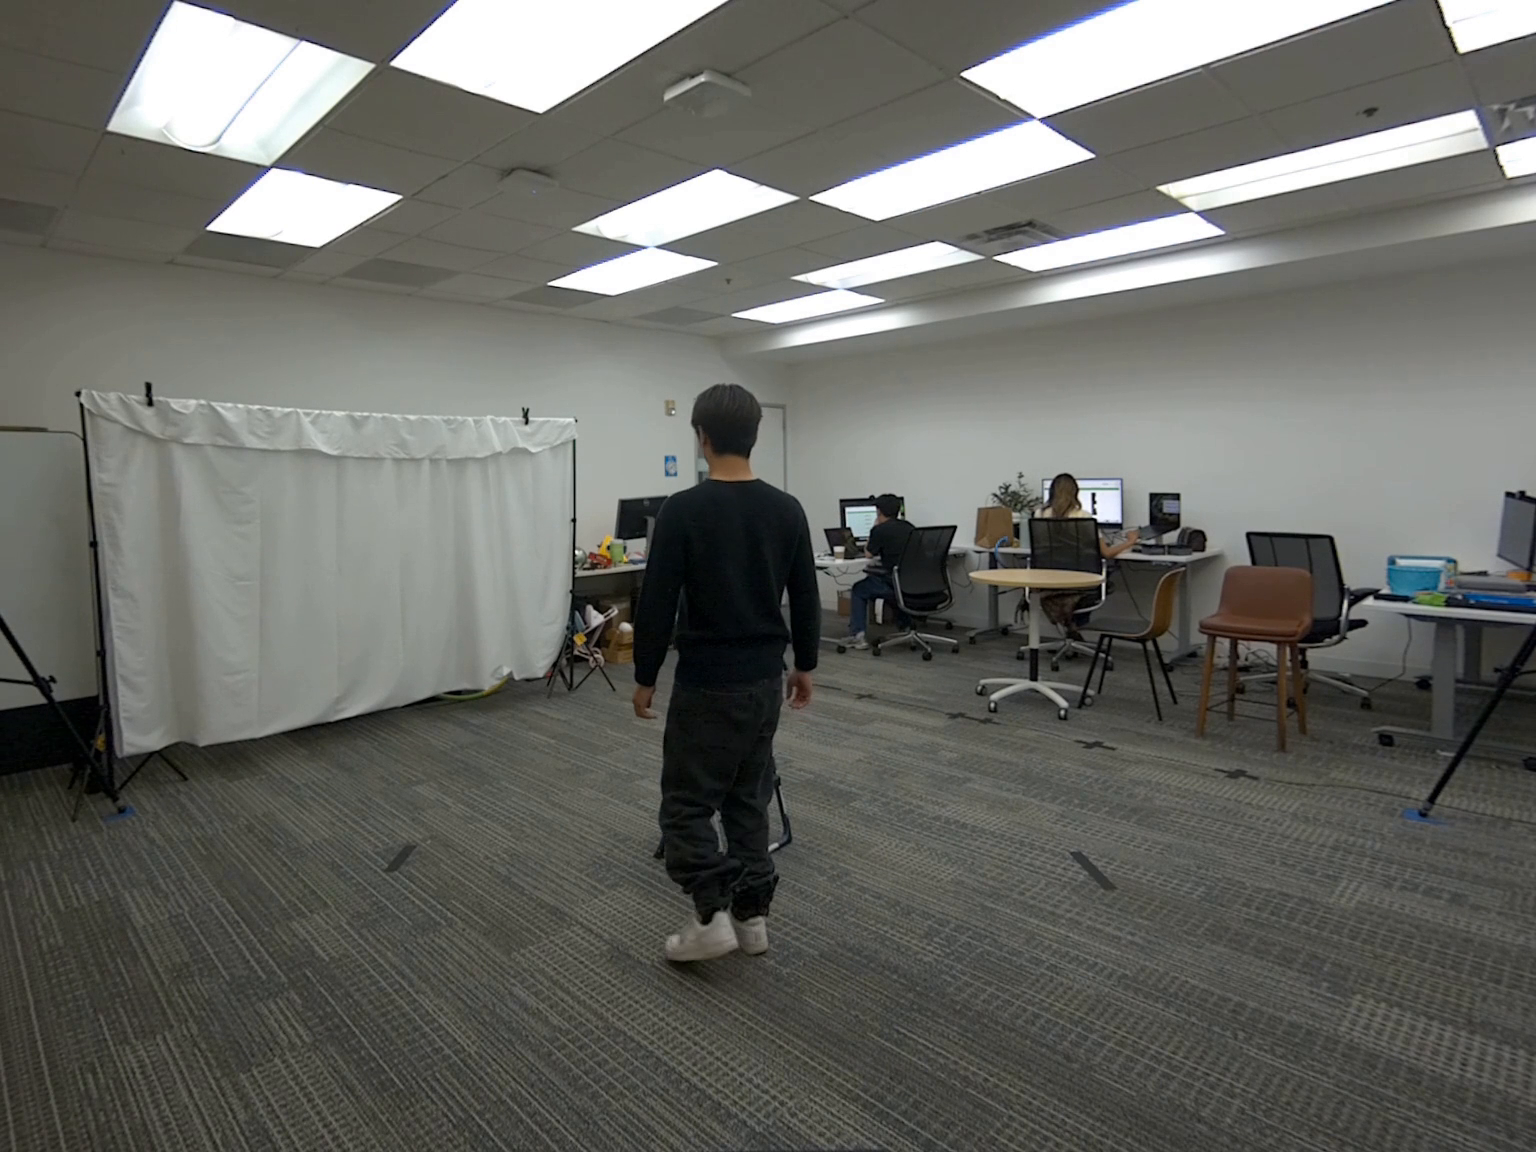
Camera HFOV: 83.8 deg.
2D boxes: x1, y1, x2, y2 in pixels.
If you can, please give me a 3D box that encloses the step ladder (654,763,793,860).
[{"bbox_3d":[-0.165,0.730,3.209,0.359,0.604,0.420,2,6,36],"label":"step ladder"}]
